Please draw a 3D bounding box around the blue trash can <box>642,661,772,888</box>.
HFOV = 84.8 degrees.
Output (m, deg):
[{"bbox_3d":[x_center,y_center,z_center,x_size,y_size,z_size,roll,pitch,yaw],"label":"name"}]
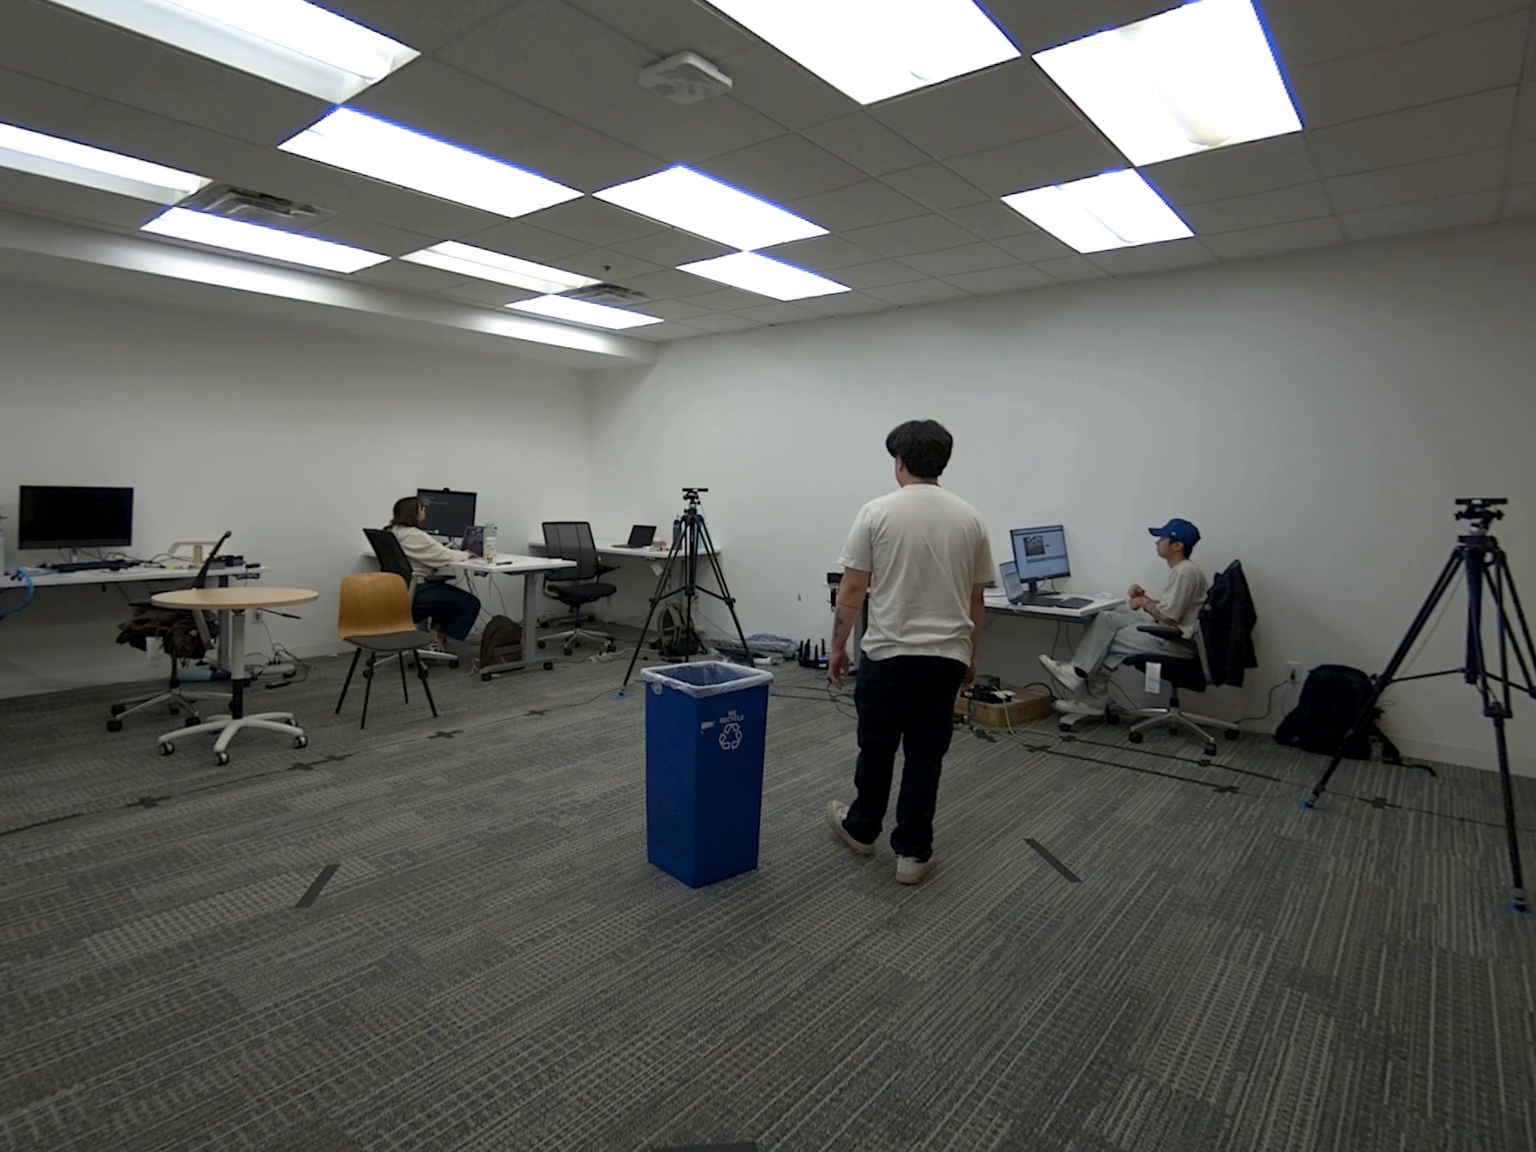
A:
[{"bbox_3d":[-0.240,0.707,3.149,0.363,0.711,0.391,-2,5,-42],"label":"blue trash can"}]
